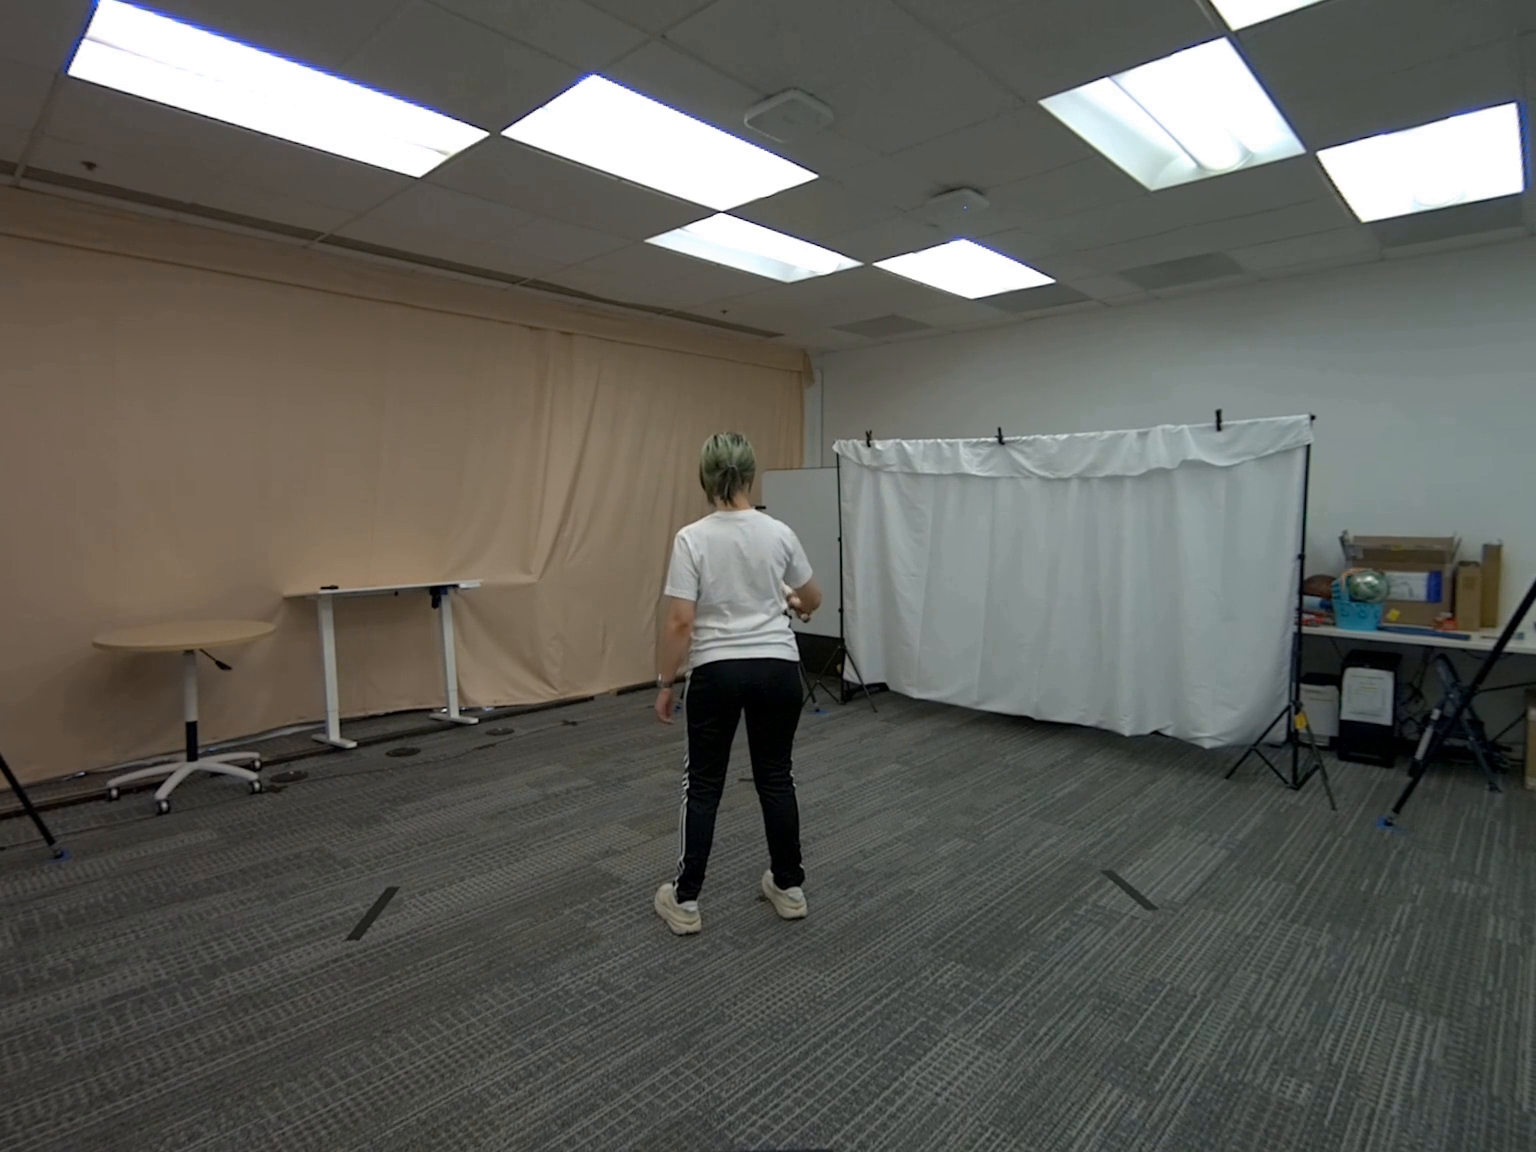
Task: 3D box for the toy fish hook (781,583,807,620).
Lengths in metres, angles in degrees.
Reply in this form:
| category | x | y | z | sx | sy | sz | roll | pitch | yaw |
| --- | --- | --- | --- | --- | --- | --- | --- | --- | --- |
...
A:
| category | x | y | z | sx | sy | sz | roll | pitch | yaw |
| --- | --- | --- | --- | --- | --- | --- | --- | --- | --- |
| toy fish hook | 0.093 | 0.083 | 3.441 | 0.048 | 0.218 | 0.520 | -35 | 30 | 3 |
